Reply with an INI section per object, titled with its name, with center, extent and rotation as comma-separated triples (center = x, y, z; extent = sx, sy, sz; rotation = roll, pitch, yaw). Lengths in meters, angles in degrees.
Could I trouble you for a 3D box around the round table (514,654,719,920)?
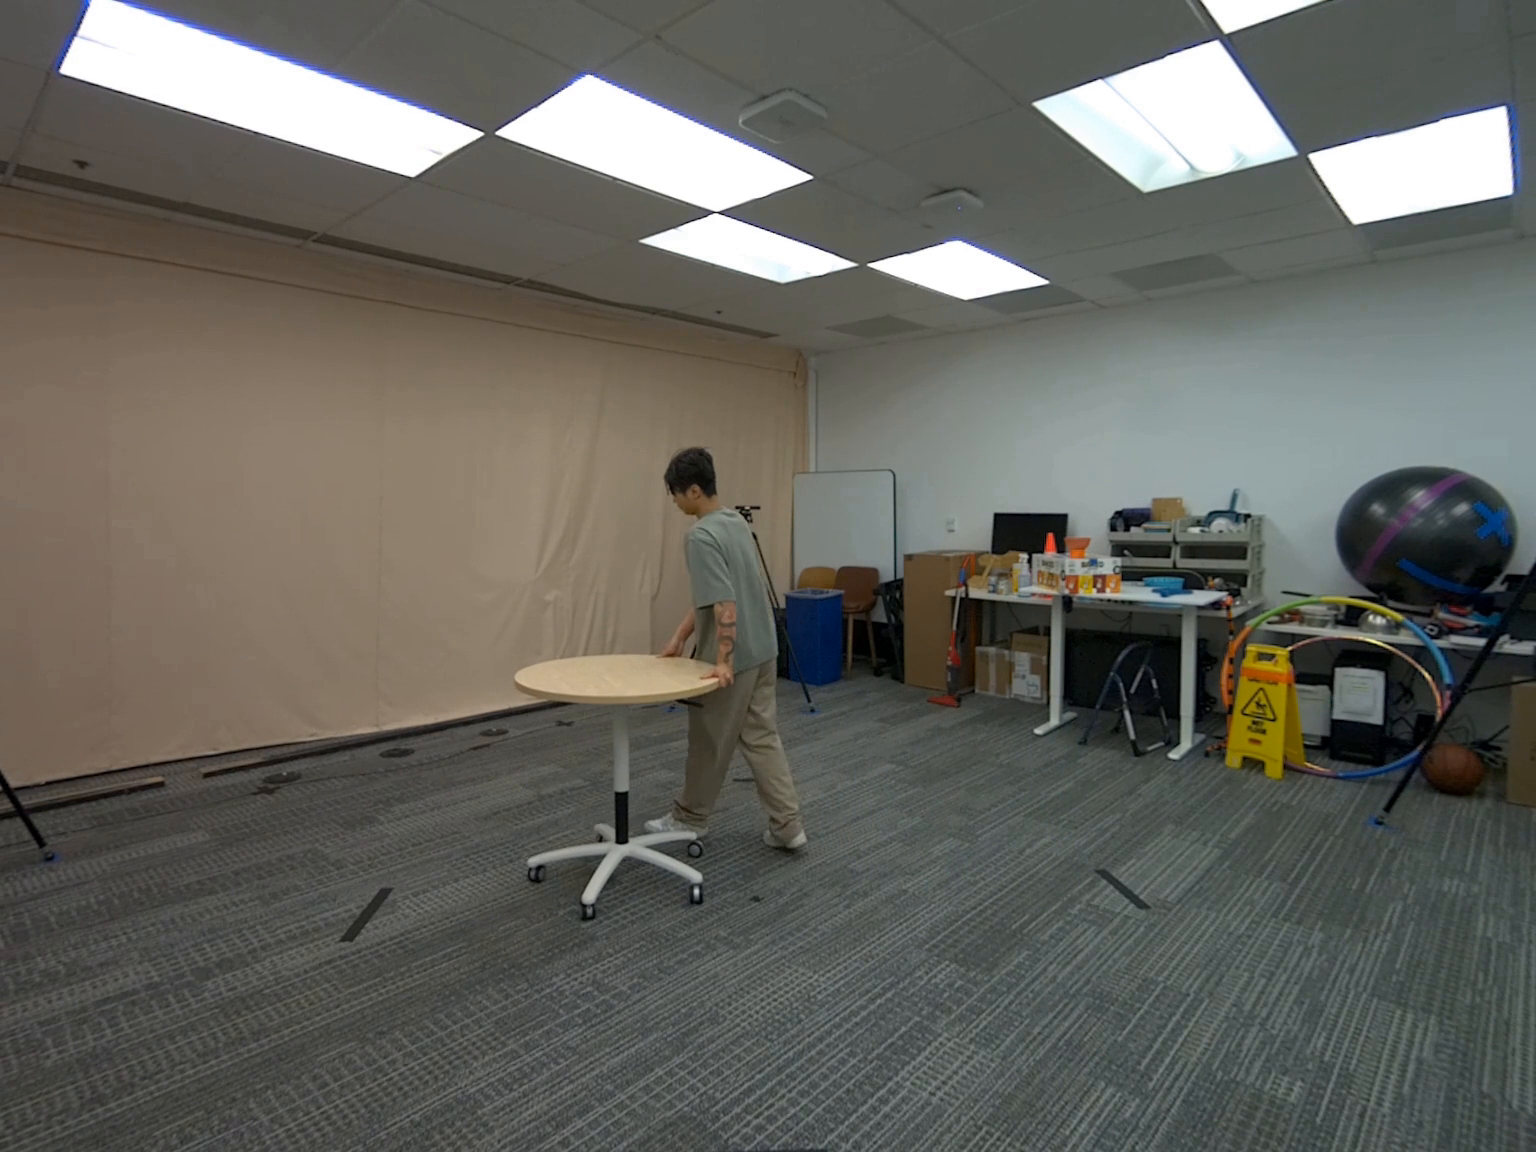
[round table]
center = -0.559, 0.746, 3.131
extent = 0.784, 0.785, 0.788
rotation = 0, 4, -2
